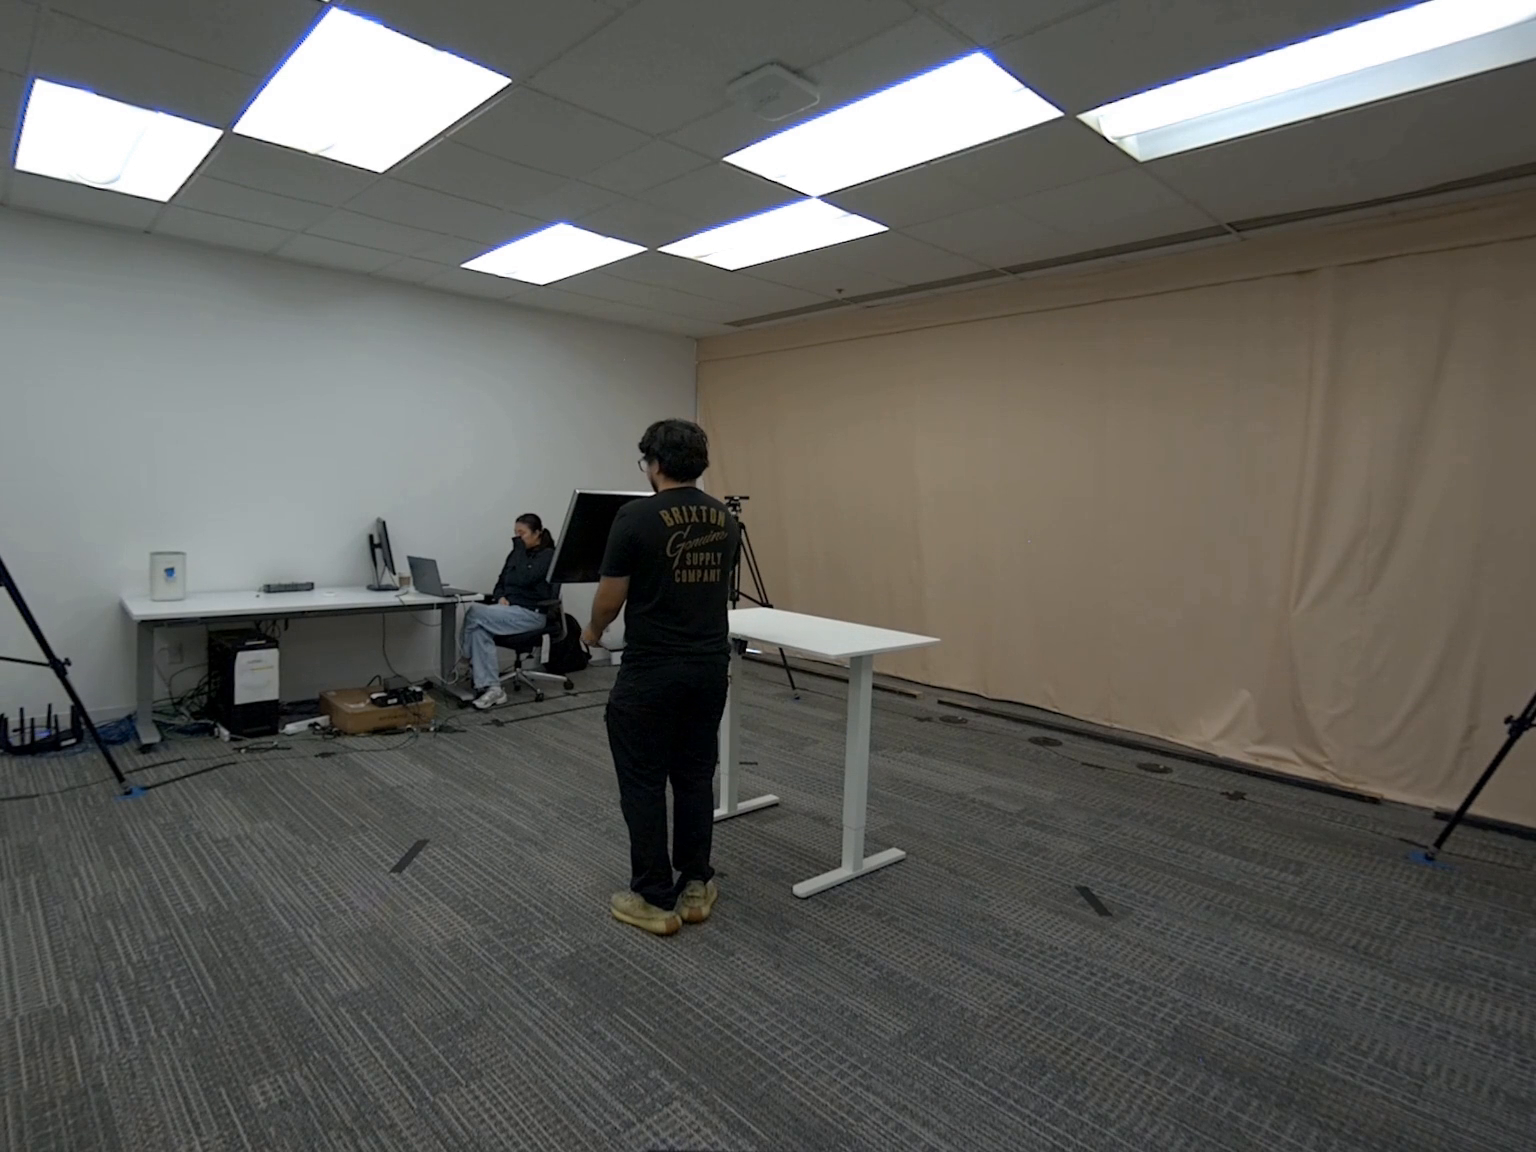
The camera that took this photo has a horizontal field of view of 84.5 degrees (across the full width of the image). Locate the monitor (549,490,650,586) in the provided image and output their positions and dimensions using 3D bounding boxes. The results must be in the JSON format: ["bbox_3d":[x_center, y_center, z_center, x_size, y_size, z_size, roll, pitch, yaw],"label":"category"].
[{"bbox_3d":[-0.457,-0.014,2.938,0.552,0.549,0.217,-2,27,-42],"label":"monitor"}]
